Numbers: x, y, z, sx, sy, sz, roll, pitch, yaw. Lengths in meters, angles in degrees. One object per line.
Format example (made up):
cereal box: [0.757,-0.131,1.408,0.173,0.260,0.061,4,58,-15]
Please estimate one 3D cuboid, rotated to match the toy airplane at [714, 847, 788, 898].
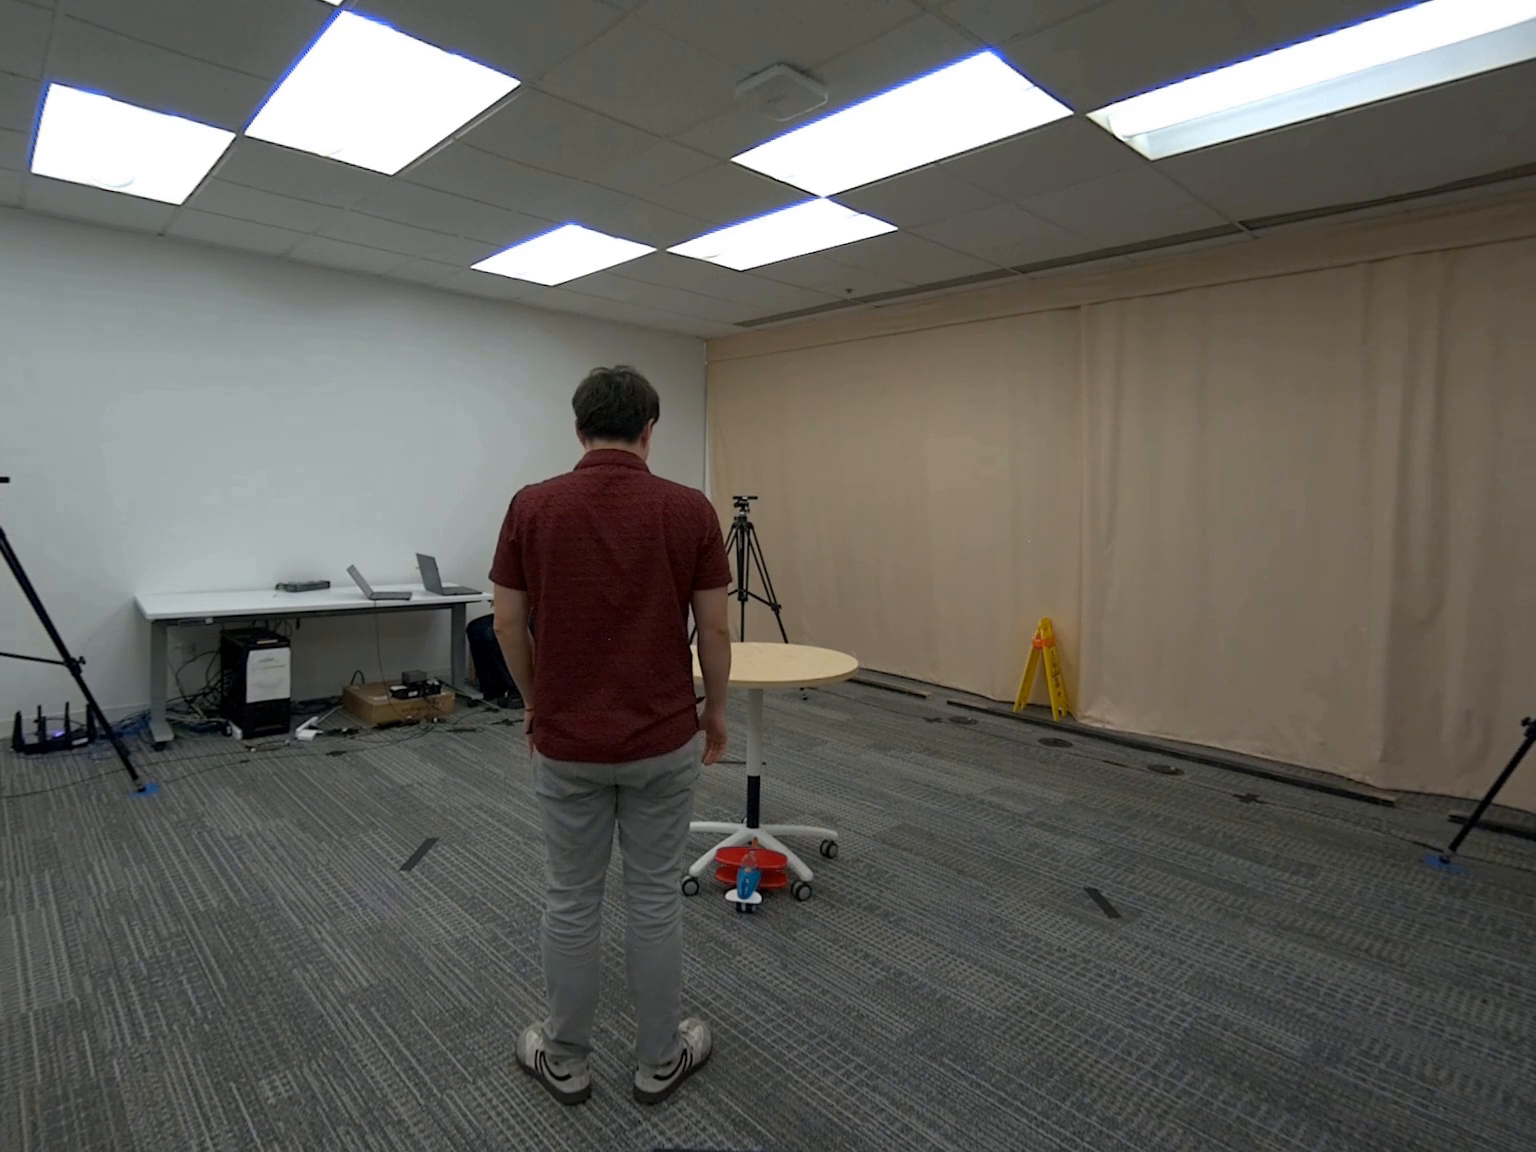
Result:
toy airplane: [-0.060,1.046,2.910,0.247,0.156,0.263,0,5,-18]
